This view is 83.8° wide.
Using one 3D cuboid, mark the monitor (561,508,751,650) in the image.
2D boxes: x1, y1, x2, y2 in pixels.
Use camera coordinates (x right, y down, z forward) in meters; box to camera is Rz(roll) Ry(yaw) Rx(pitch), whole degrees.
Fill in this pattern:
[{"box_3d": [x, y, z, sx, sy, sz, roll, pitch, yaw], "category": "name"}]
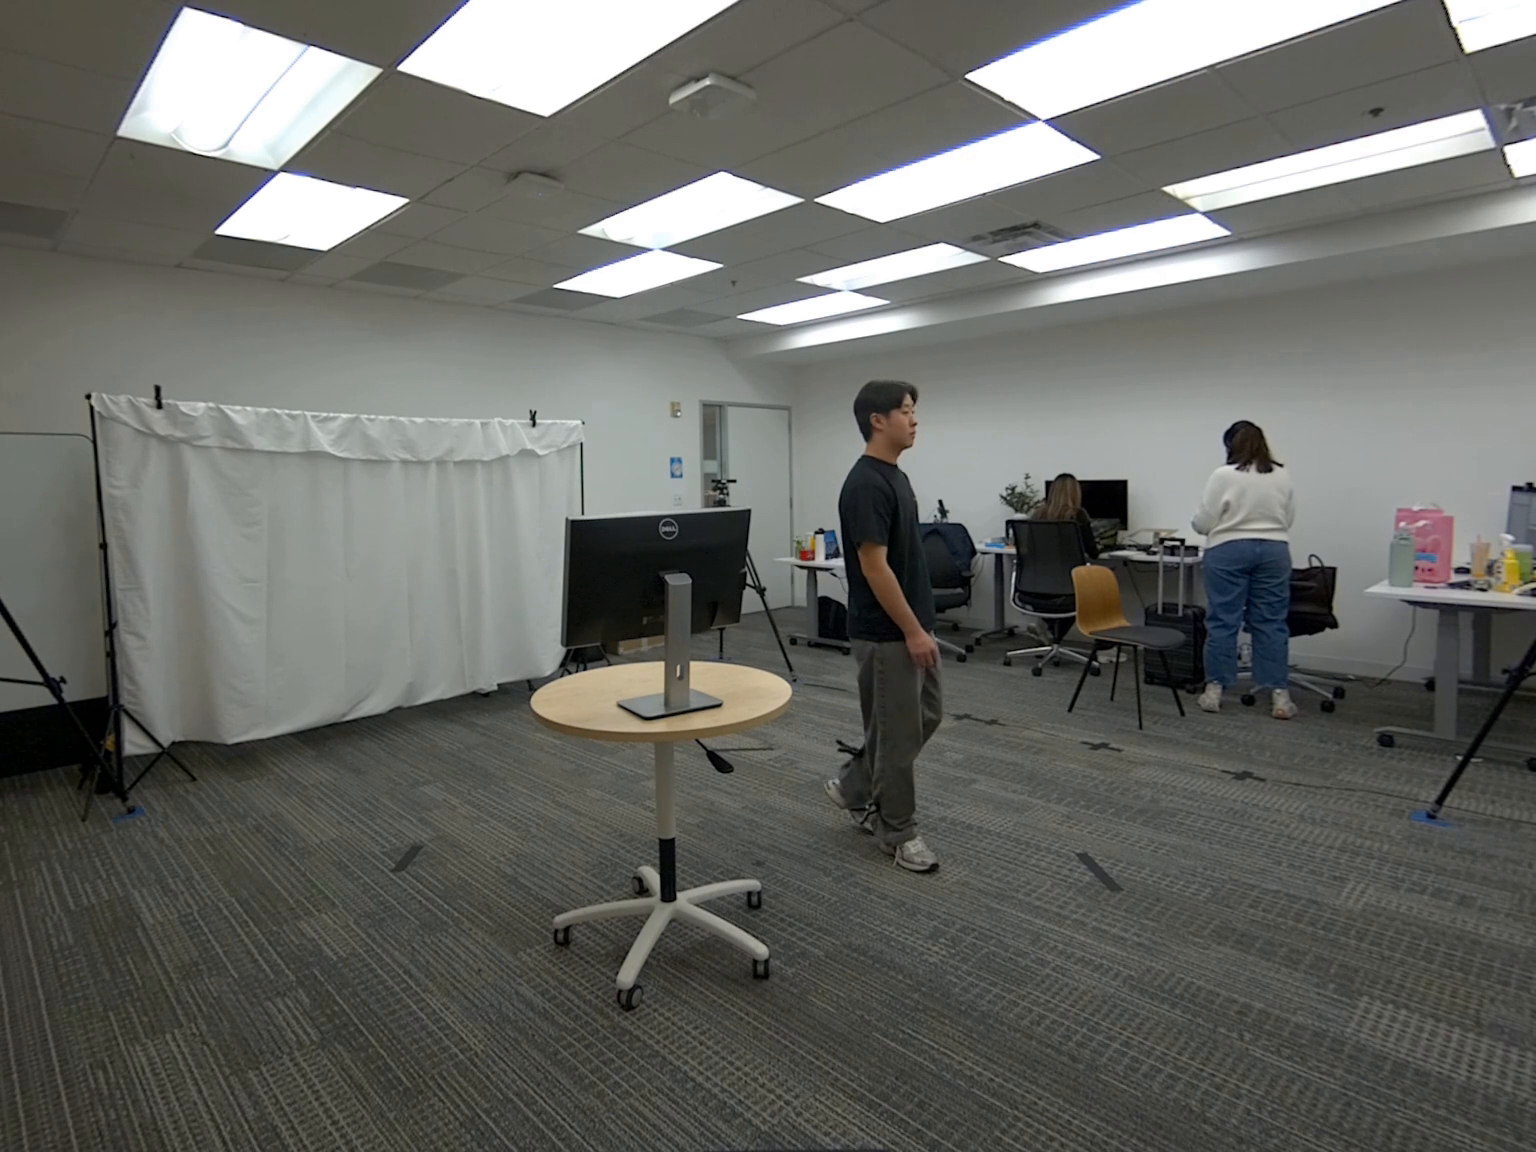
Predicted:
[{"box_3d": [-0.276, 0.102, 2.359, 0.549, 0.564, 0.228, -4, 3, -29], "category": "monitor"}]
